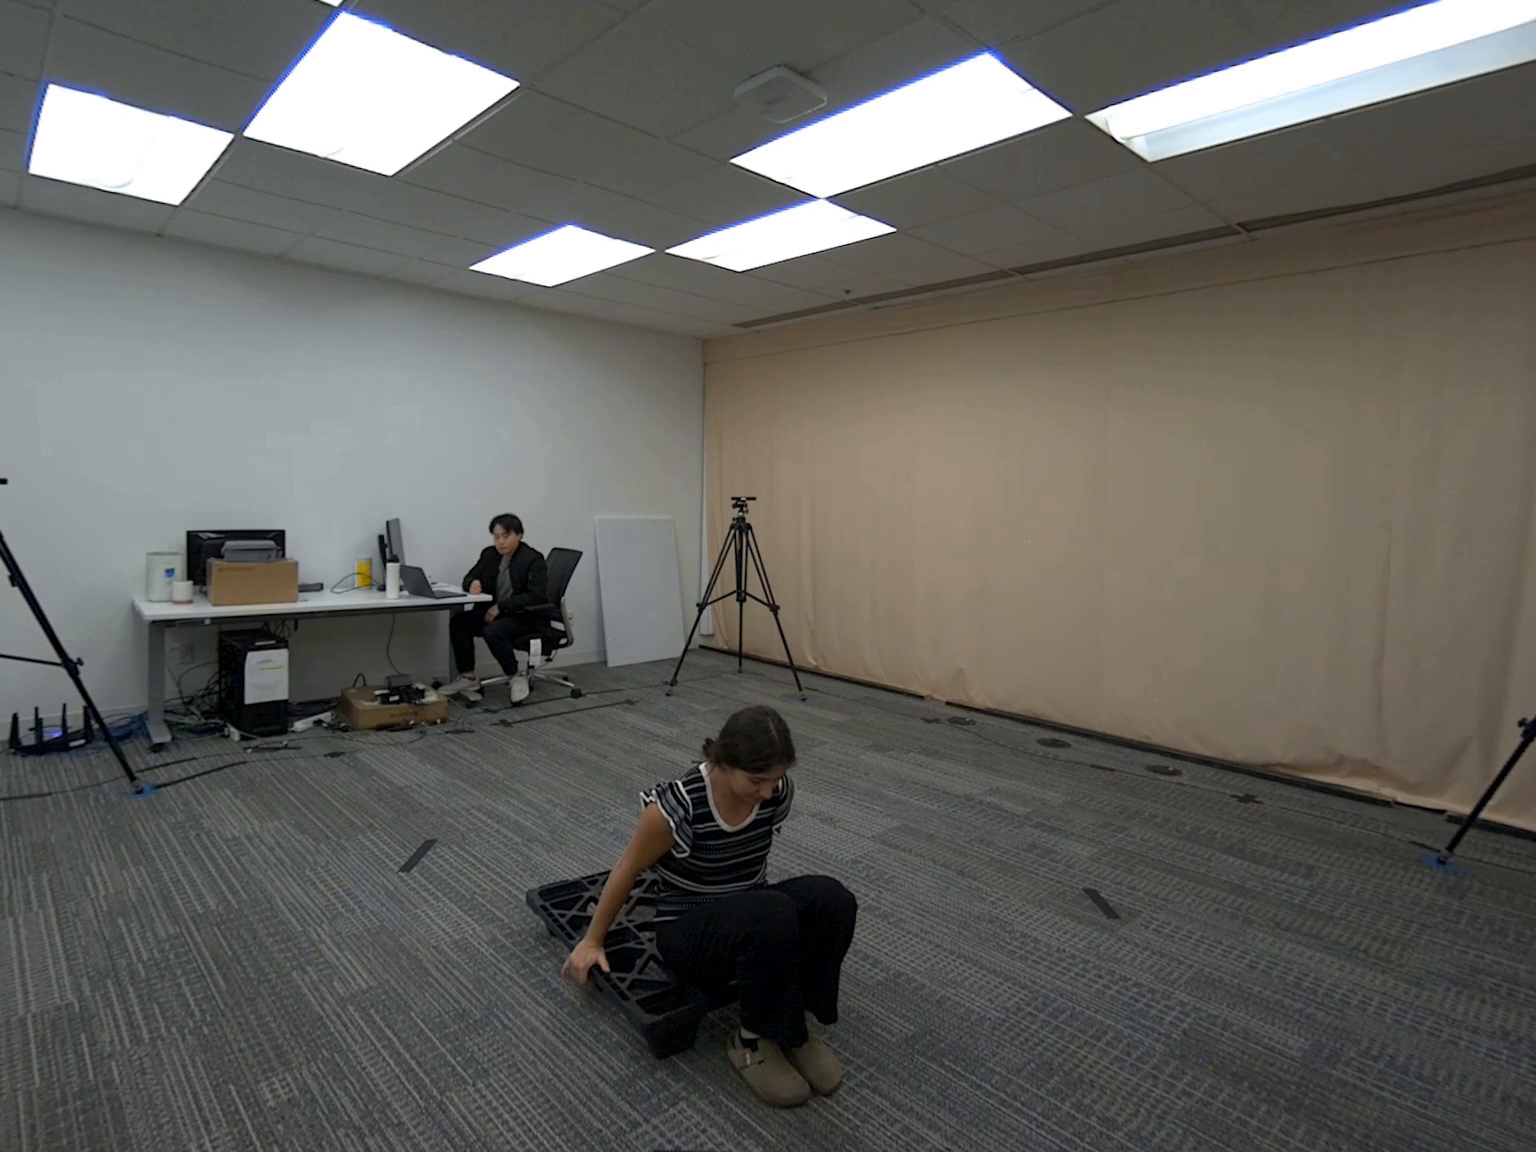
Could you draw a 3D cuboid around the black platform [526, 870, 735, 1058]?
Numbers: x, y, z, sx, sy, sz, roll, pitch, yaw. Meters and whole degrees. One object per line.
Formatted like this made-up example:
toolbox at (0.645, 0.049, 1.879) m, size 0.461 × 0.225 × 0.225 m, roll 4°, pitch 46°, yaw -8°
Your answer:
black platform at (-0.300, 1.089, 2.505) m, size 0.592 × 0.143 × 0.826 m, roll -4°, pitch 7°, yaw -35°
